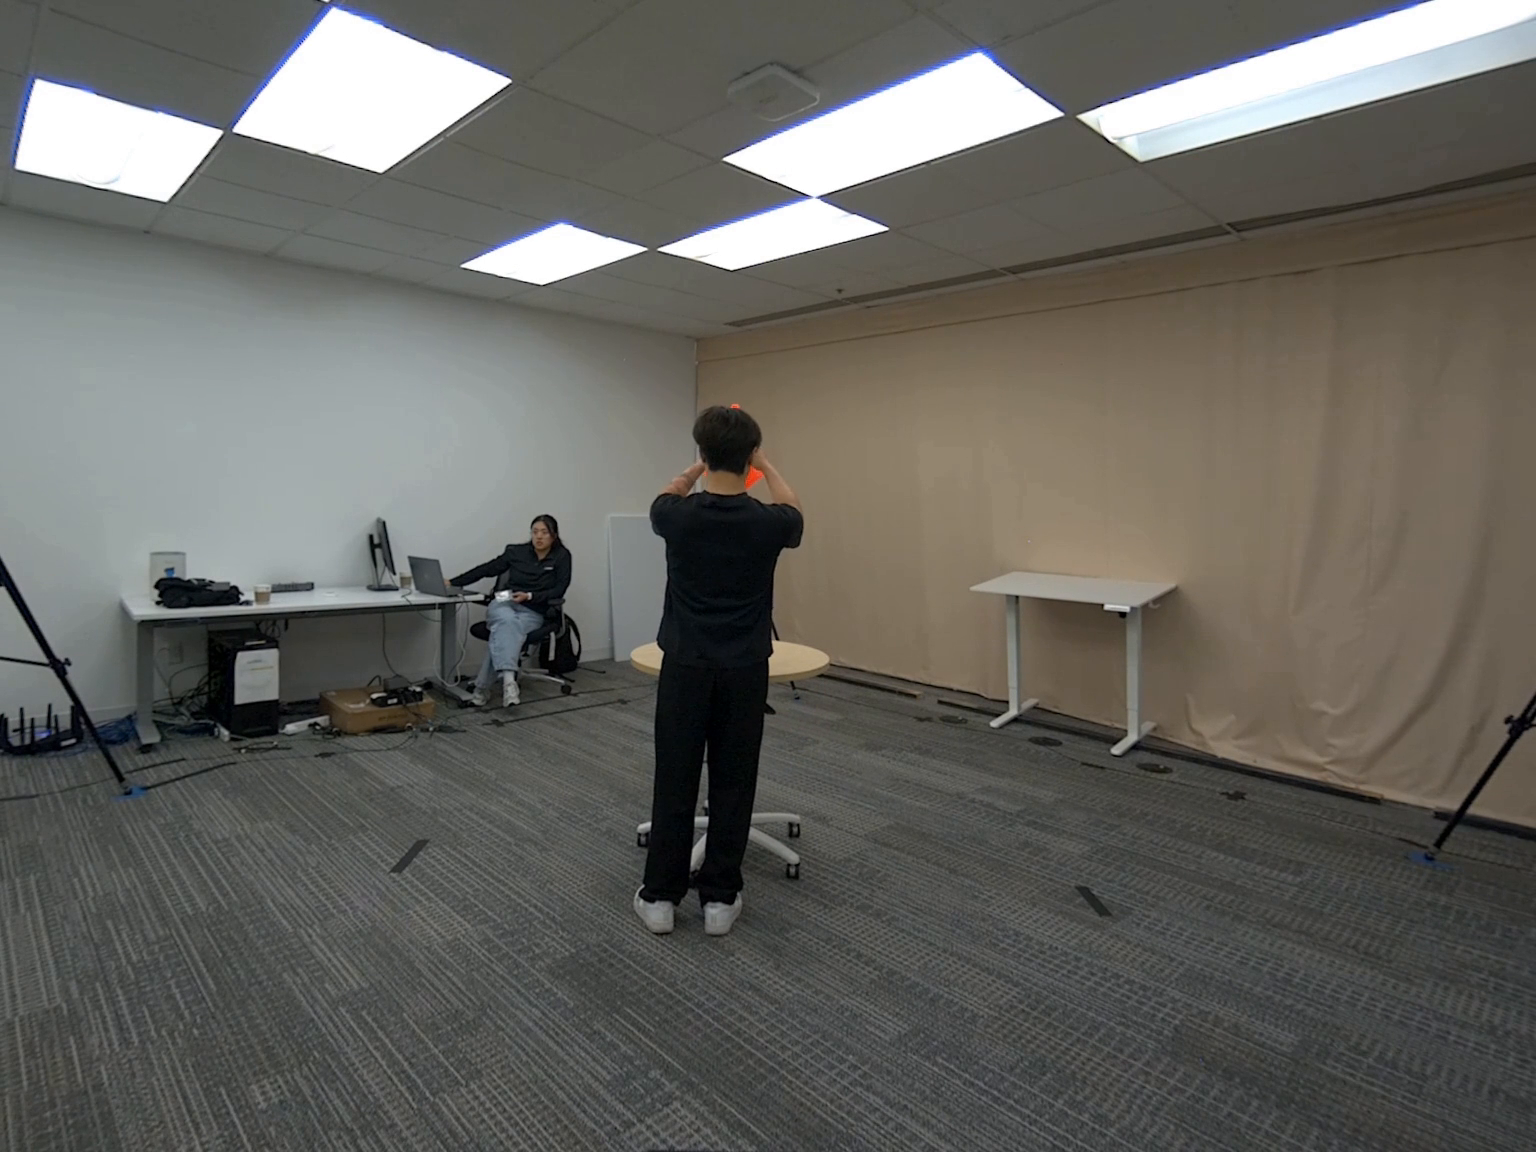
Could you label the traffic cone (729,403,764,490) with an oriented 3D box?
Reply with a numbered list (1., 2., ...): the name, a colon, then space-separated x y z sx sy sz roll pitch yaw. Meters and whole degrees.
1. traffic cone: -0.124 -0.489 3.100 0.204 0.207 0.377 -40 -20 -20
